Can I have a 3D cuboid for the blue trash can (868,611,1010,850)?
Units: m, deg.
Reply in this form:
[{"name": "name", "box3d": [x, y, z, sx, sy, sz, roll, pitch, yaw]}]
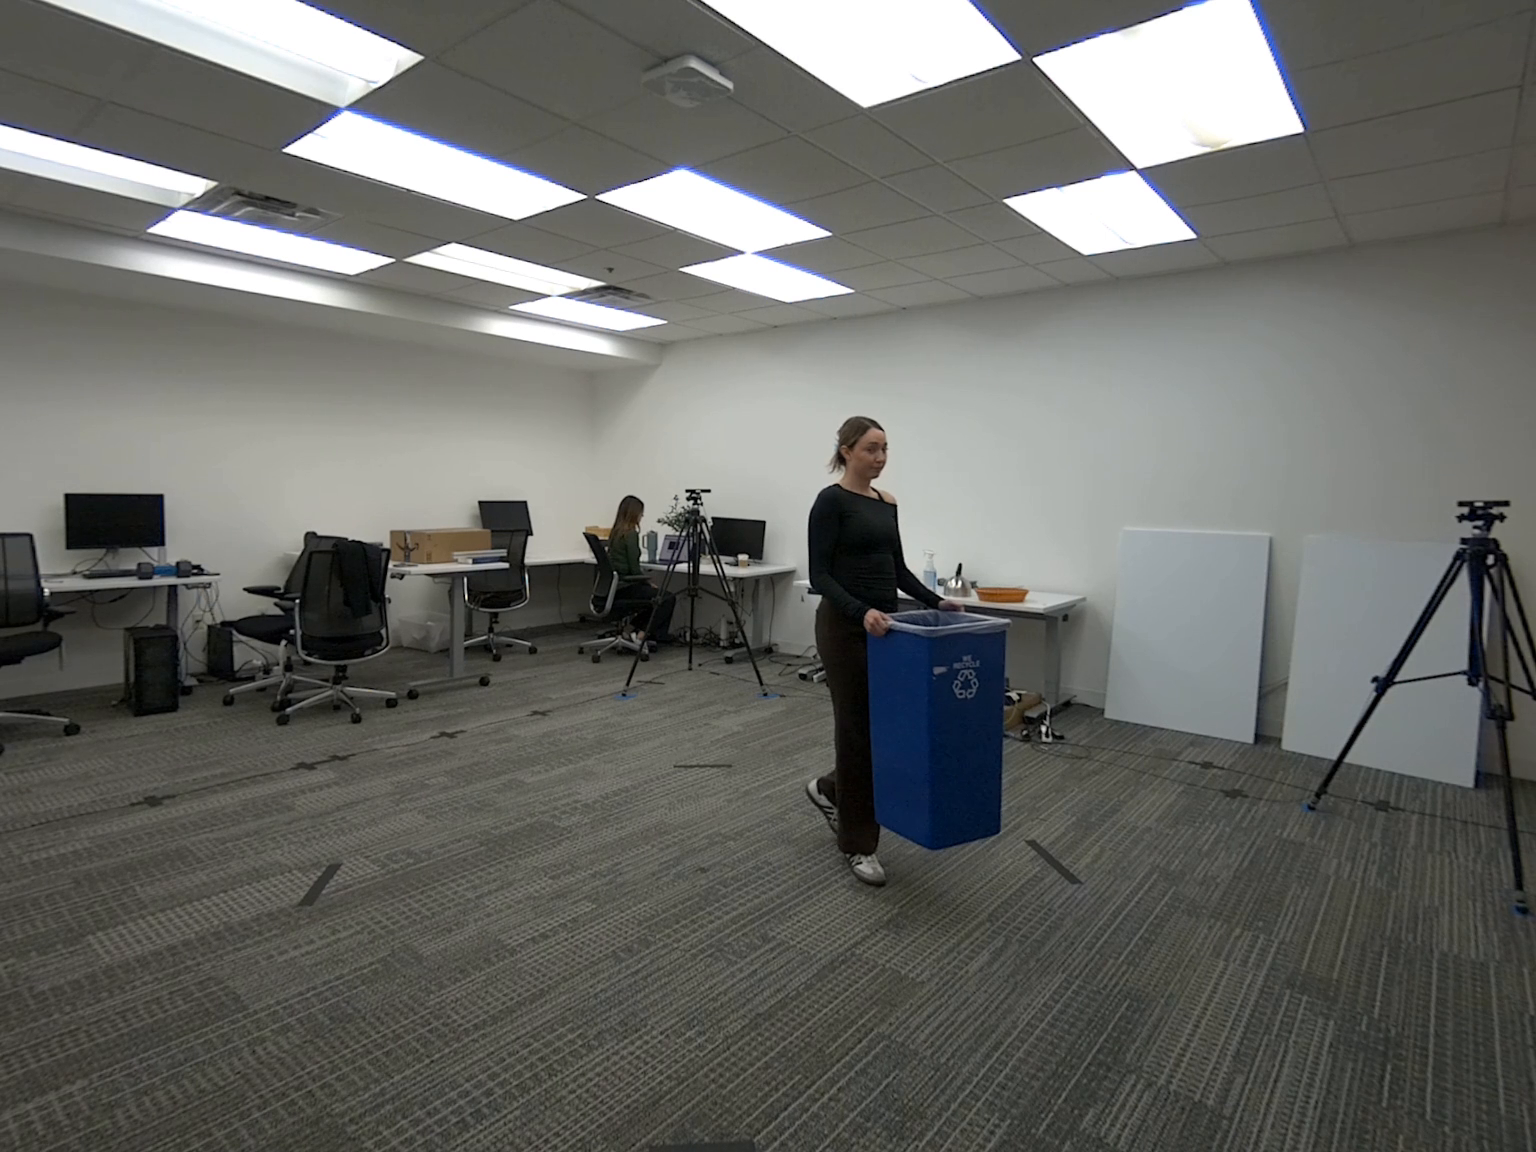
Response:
[{"name": "blue trash can", "box3d": [0.563, 0.493, 2.882, 0.365, 0.712, 0.388, -2, 3, -28]}]
